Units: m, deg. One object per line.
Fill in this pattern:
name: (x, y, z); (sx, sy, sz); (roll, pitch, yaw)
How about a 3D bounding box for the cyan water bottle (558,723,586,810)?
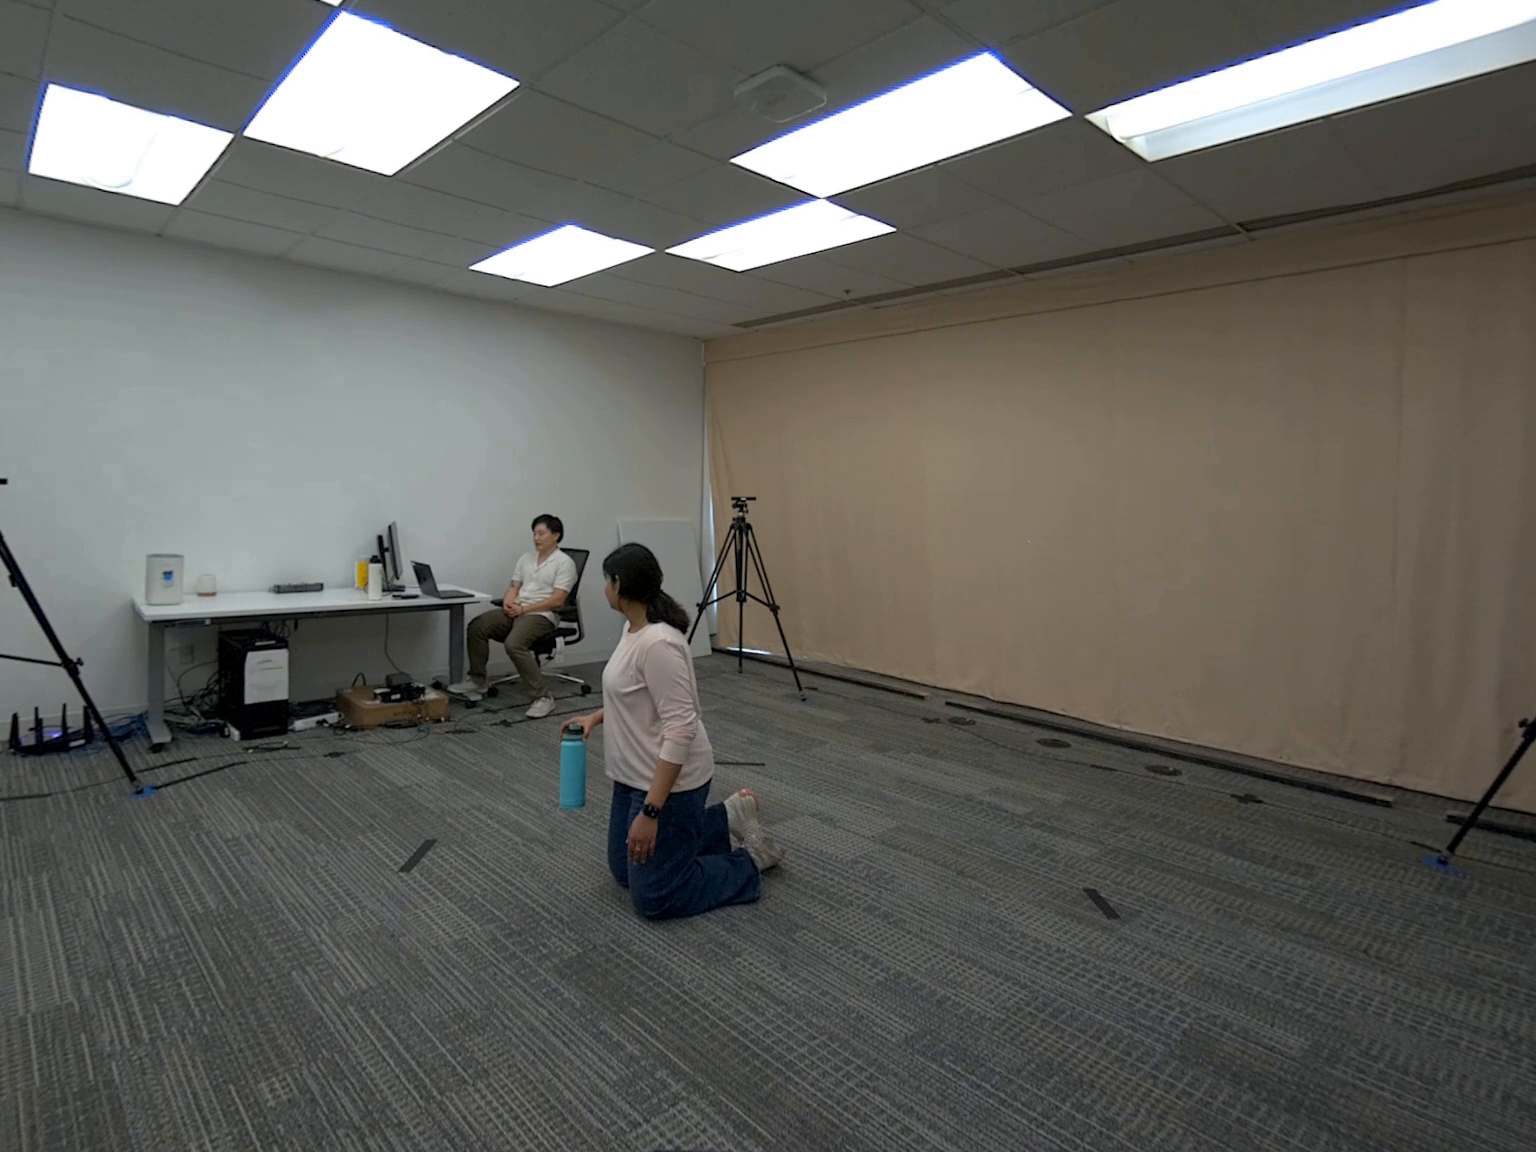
cyan water bottle: (-0.683, 0.661, 2.944); (0.092, 0.284, 0.092); (-1, -5, -1)
